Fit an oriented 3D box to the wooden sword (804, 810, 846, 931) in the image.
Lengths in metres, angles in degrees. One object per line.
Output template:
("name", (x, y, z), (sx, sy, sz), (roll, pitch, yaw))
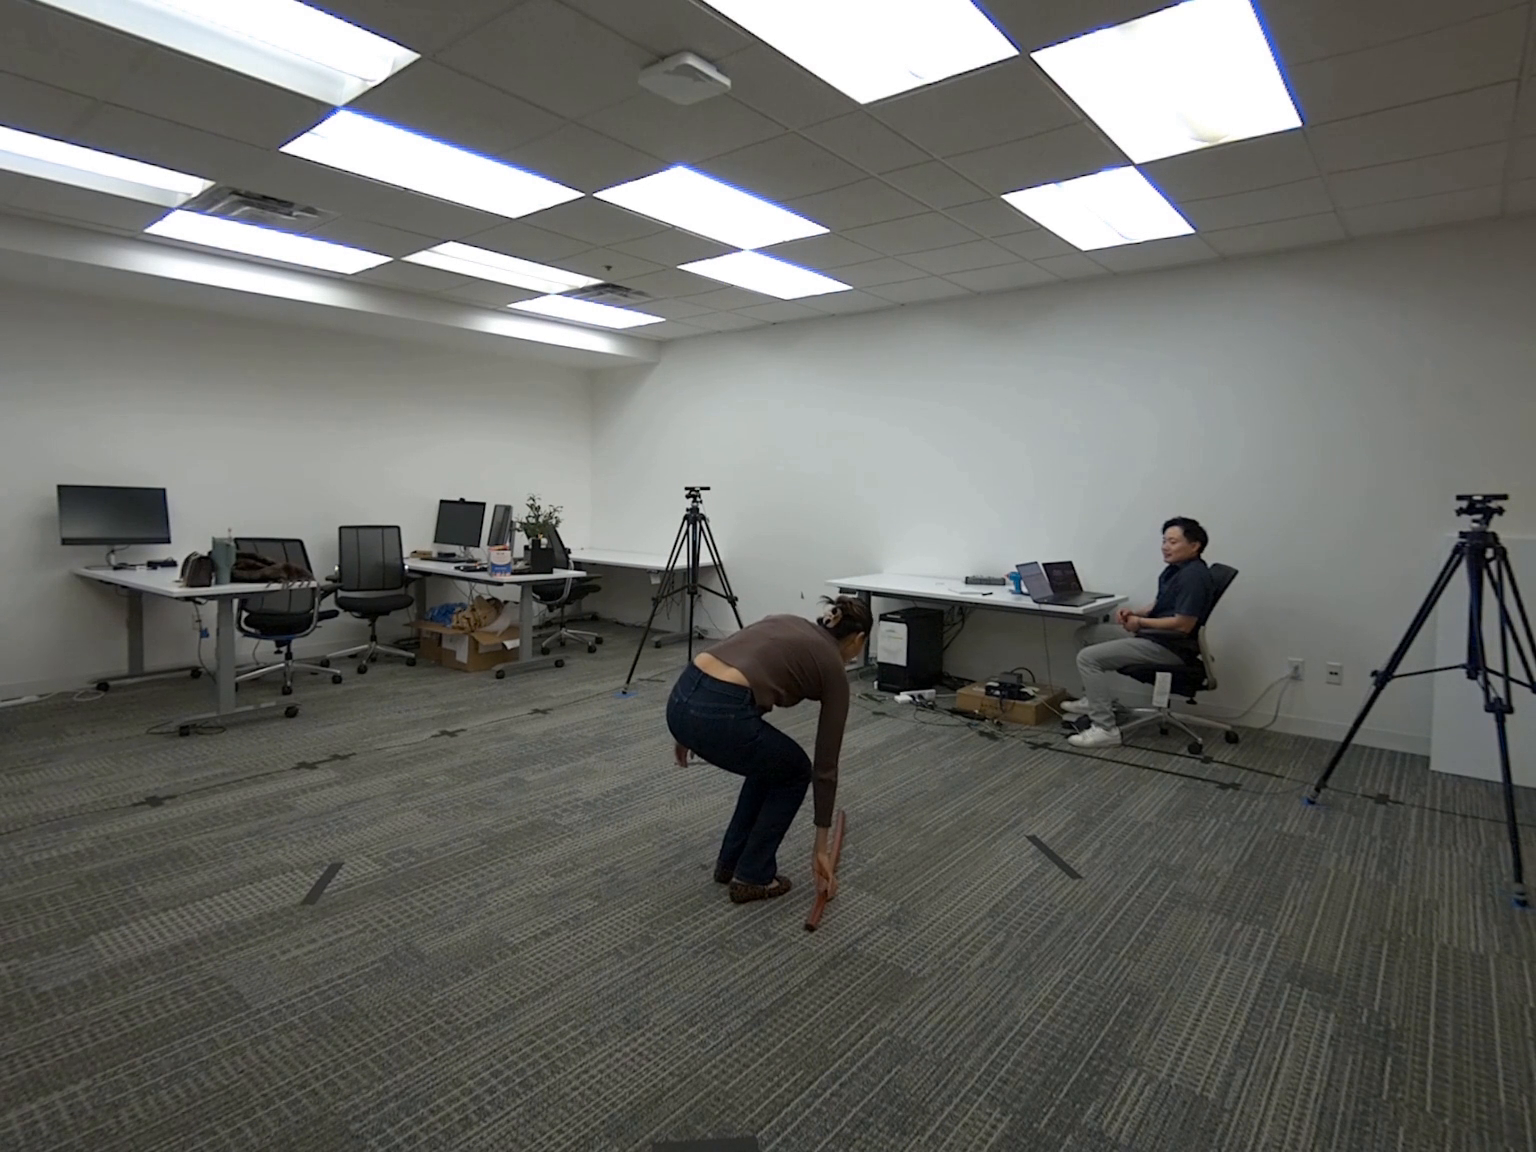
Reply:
("wooden sword", (0.218, 1.036, 3.151), (0.024, 0.051, 1.013), (11, 5, 9))
